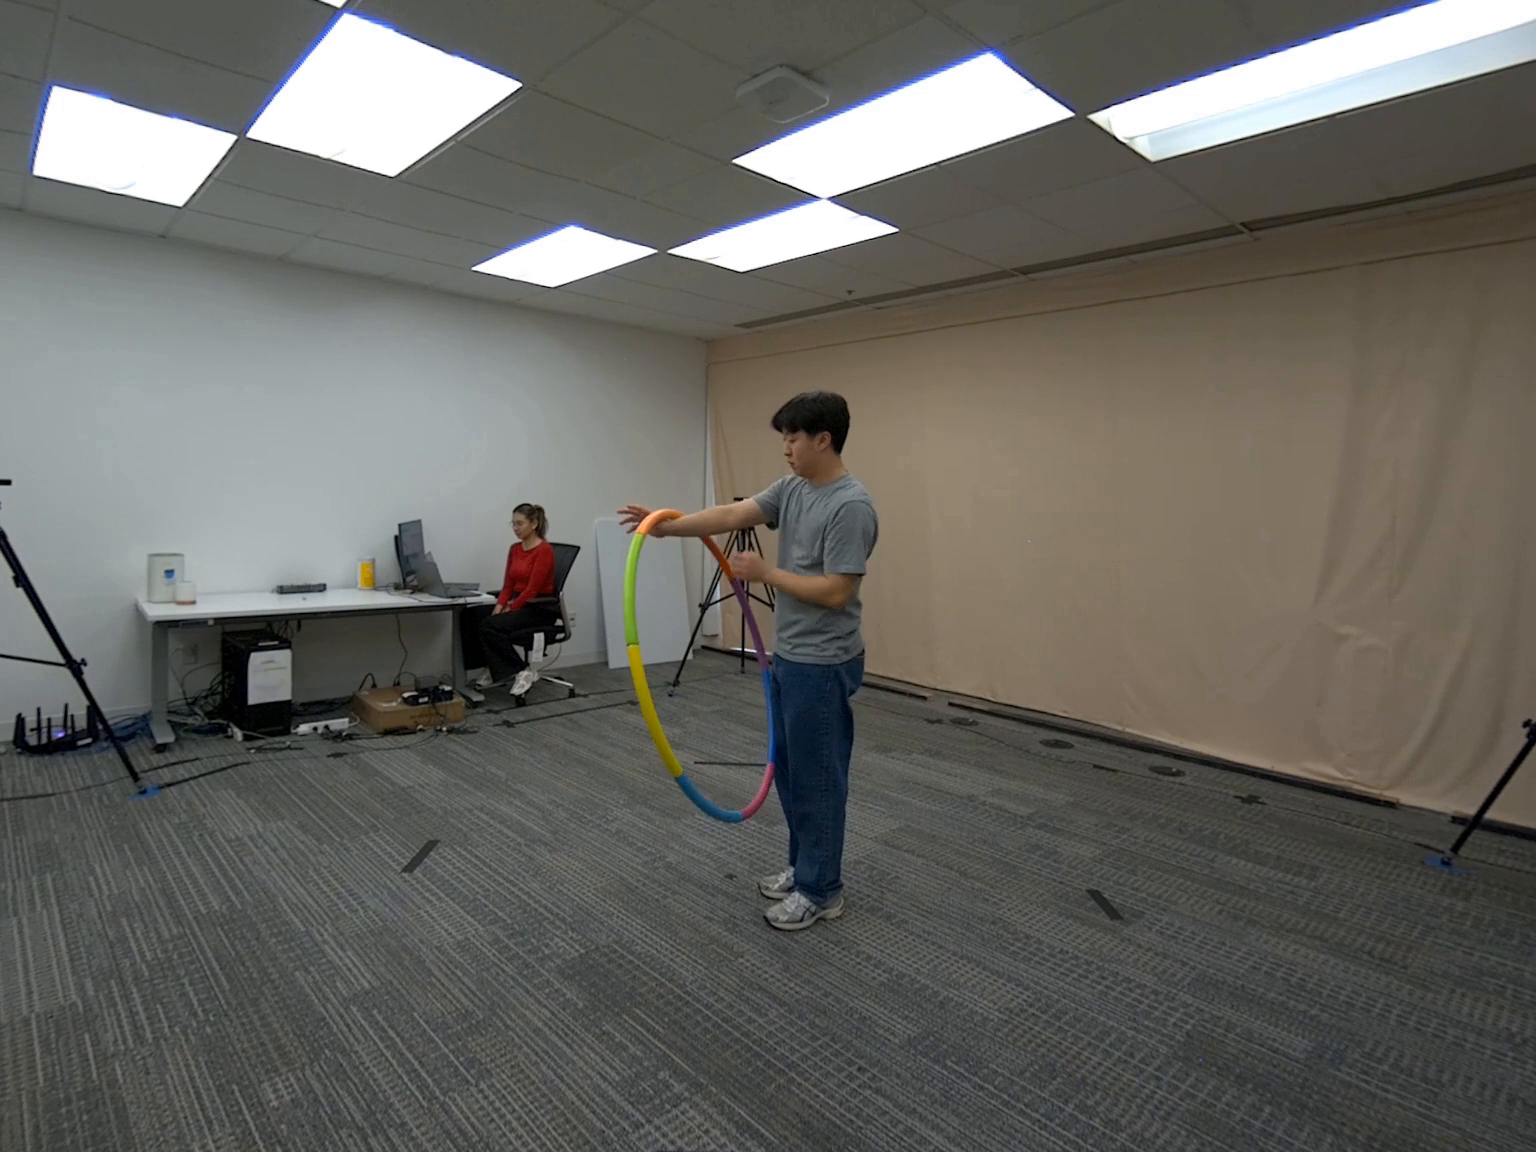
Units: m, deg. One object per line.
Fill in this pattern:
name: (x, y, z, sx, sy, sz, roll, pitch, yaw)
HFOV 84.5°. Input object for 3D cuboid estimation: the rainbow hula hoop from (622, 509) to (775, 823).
rainbow hula hoop: (-0.218, 0.262, 2.665, 0.036, 0.981, 0.967, -18, -2, 18)
